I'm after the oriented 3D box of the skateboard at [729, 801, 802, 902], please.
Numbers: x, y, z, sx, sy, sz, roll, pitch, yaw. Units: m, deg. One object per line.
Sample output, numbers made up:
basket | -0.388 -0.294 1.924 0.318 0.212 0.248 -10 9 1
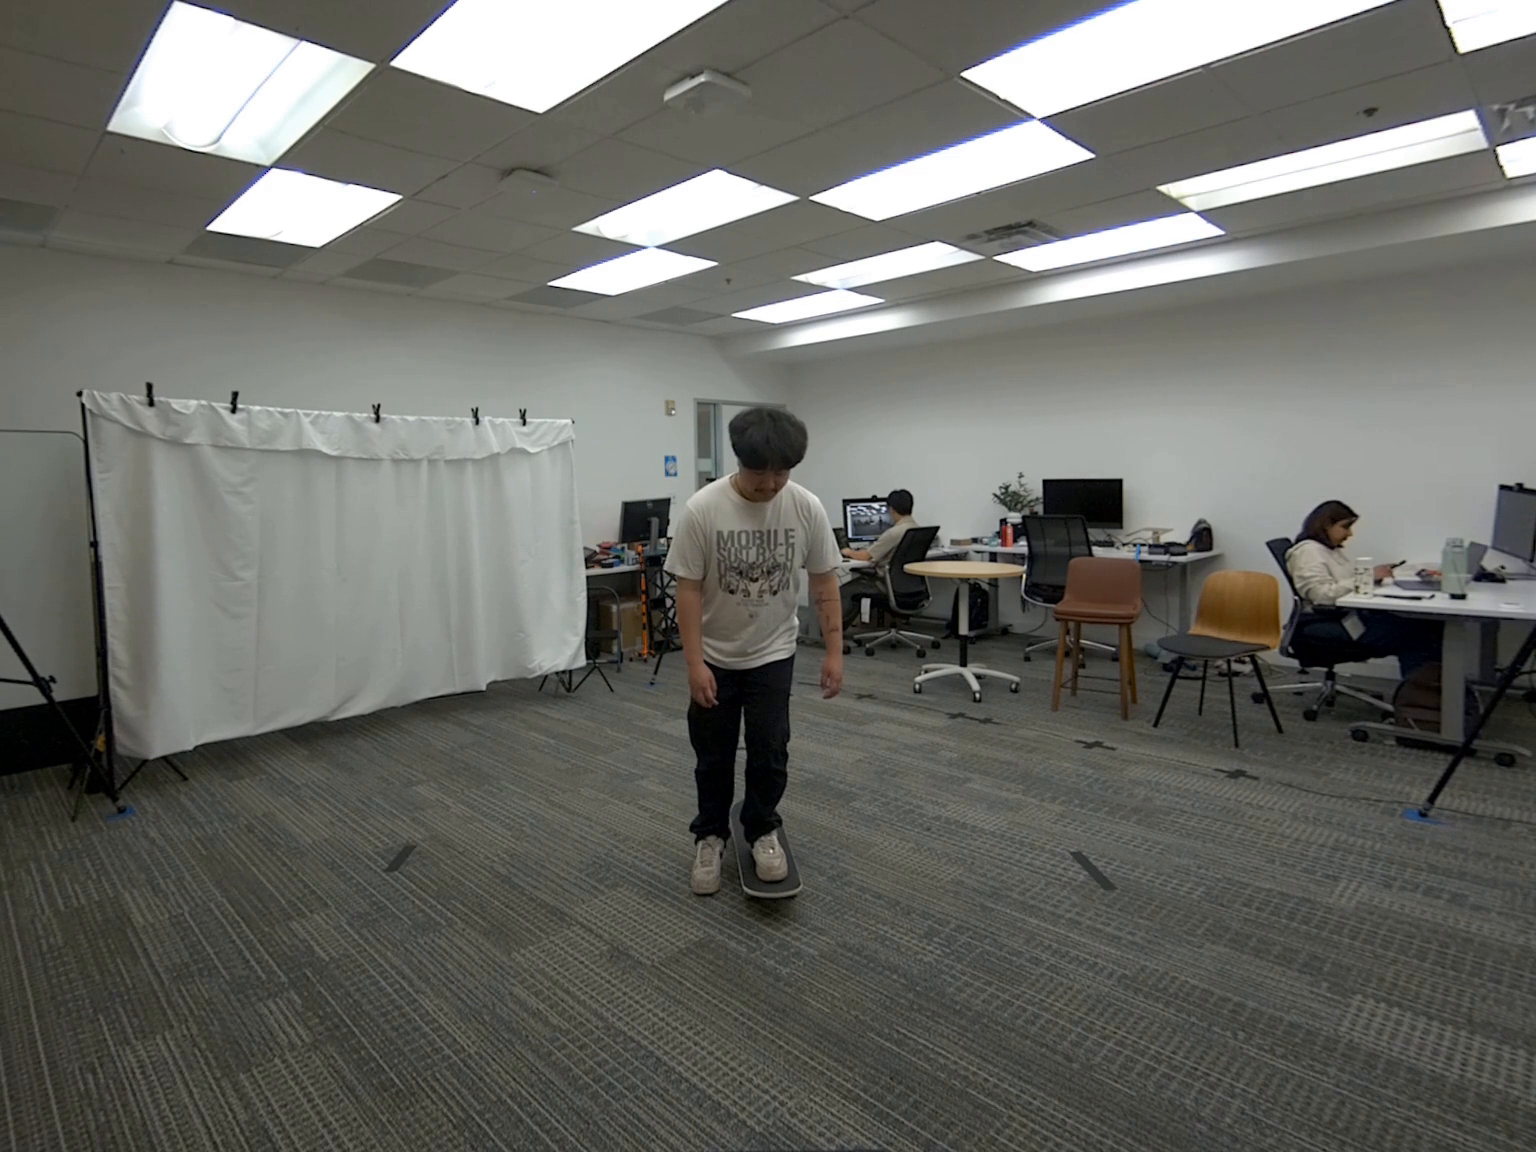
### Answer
skateboard | -0.021 0.989 3.050 0.192 0.110 0.792 -2 6 -6
